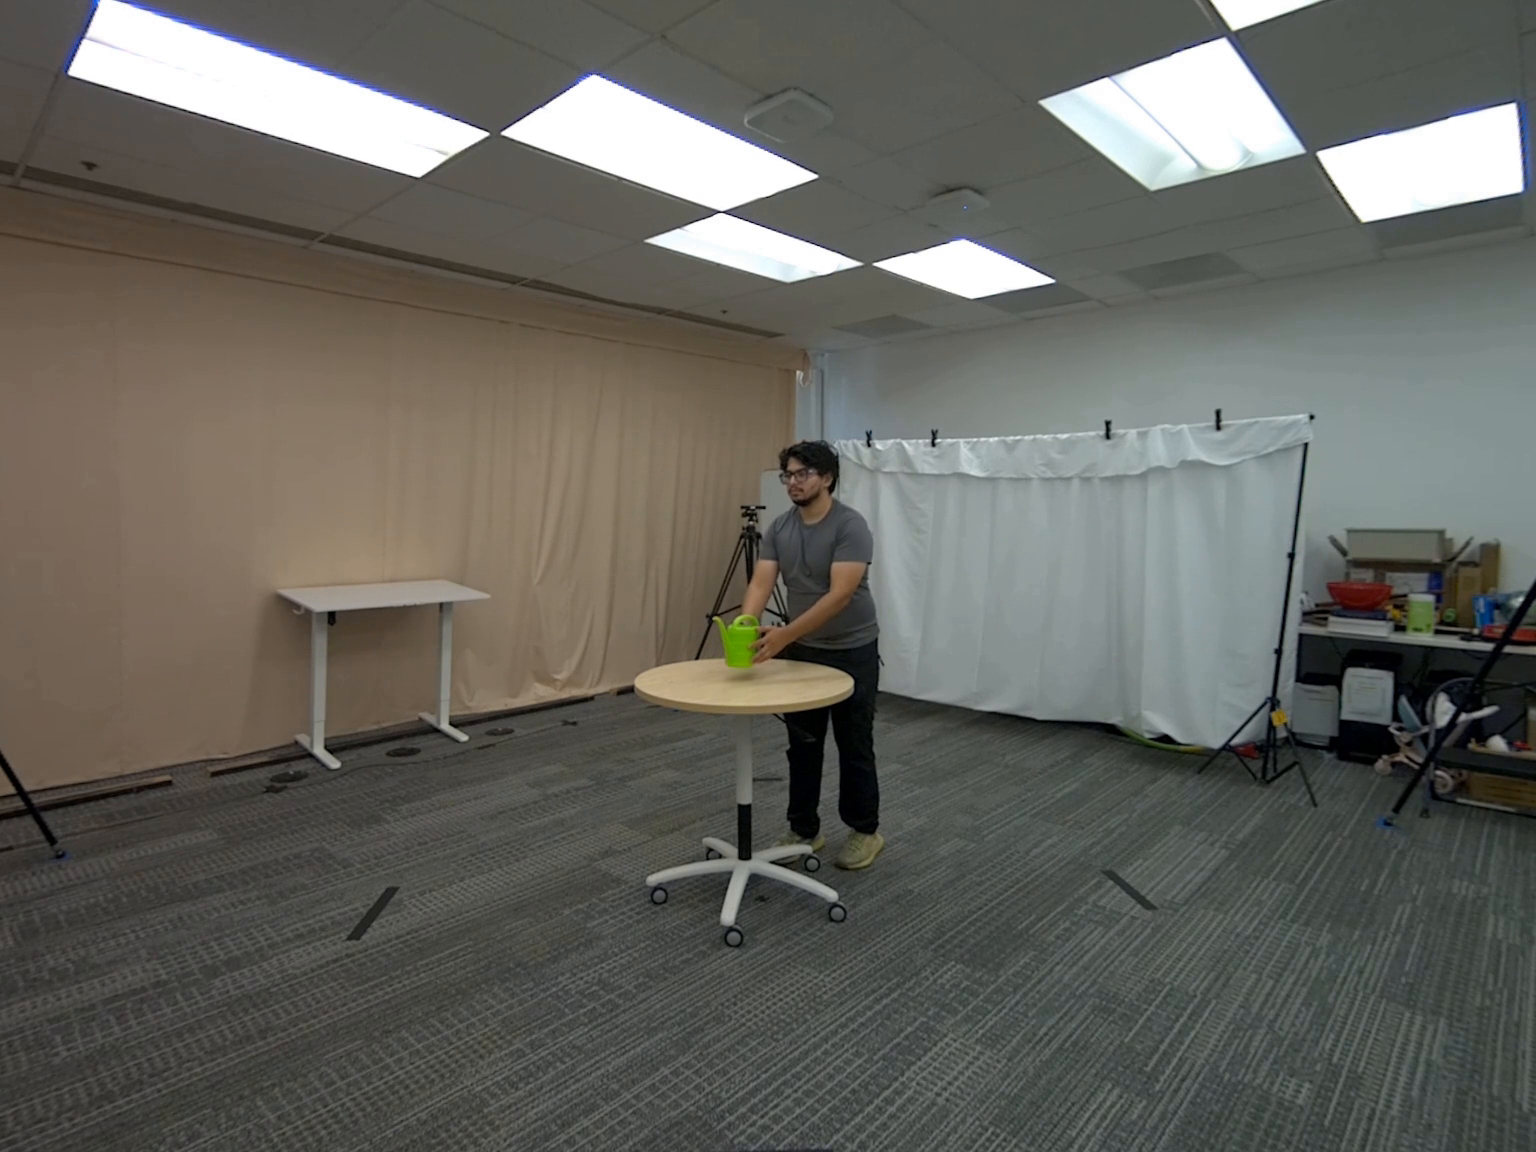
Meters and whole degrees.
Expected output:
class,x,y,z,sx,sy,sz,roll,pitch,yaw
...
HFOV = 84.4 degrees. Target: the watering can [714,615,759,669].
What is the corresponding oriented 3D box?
class,x,y,z,sx,sy,sz,roll,pitch,yaw
watering can,-0.115,0.224,2.896,0.101,0.177,0.269,4,1,44
